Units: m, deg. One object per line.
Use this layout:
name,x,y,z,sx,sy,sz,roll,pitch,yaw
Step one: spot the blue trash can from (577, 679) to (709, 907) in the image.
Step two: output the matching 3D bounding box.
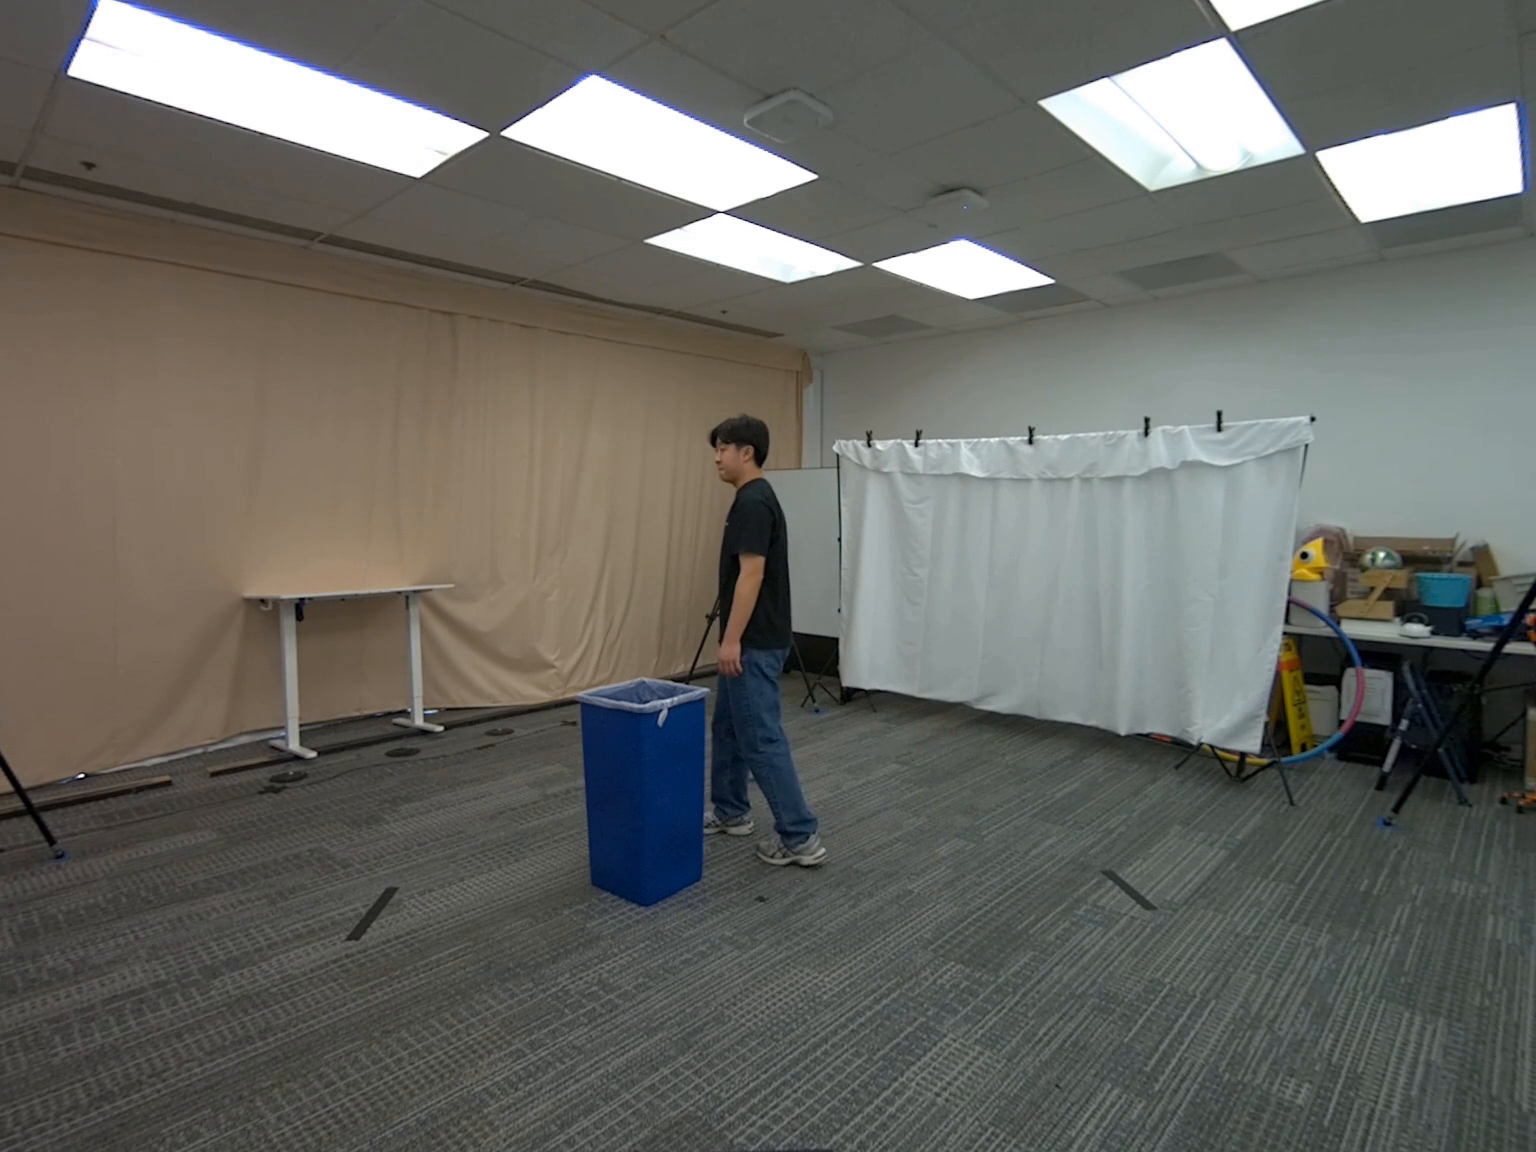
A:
blue trash can,-0.465,0.778,3.111,0.386,0.712,0.366,2,3,39
